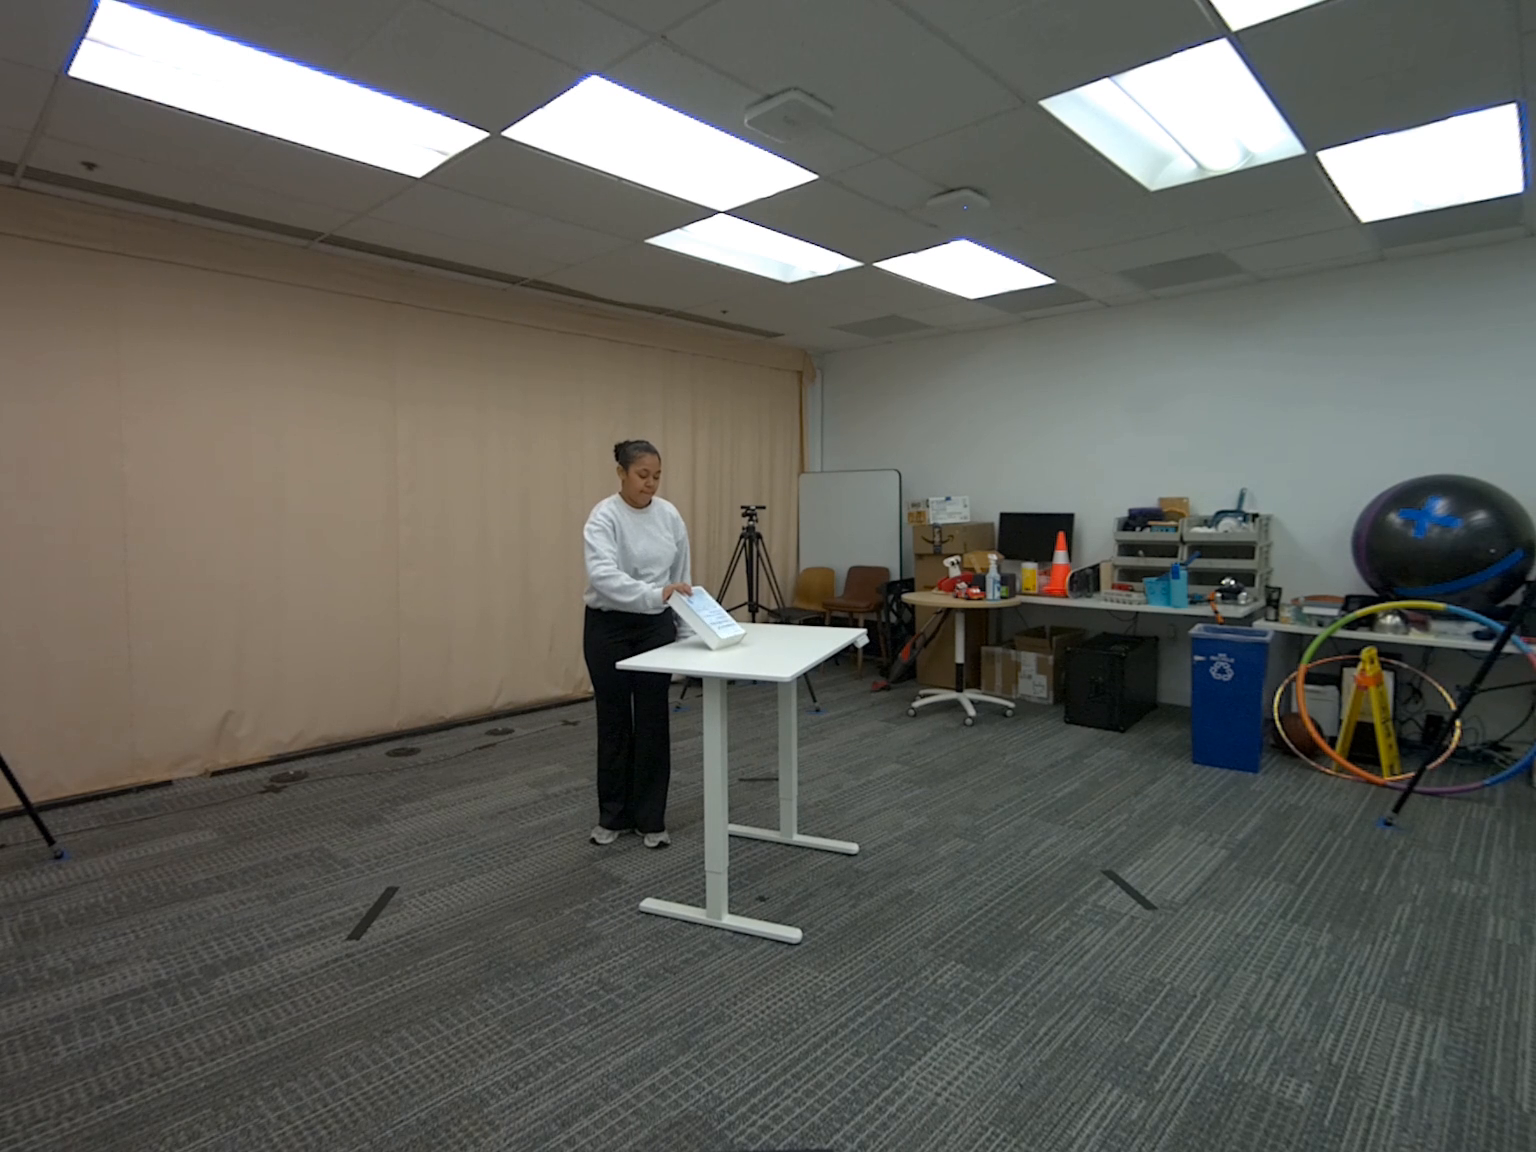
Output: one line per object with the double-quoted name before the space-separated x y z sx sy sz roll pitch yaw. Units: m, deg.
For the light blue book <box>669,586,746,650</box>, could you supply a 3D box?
"light blue book" -0.227 0.152 3.085 0.268 0.059 0.186 43 22 21
